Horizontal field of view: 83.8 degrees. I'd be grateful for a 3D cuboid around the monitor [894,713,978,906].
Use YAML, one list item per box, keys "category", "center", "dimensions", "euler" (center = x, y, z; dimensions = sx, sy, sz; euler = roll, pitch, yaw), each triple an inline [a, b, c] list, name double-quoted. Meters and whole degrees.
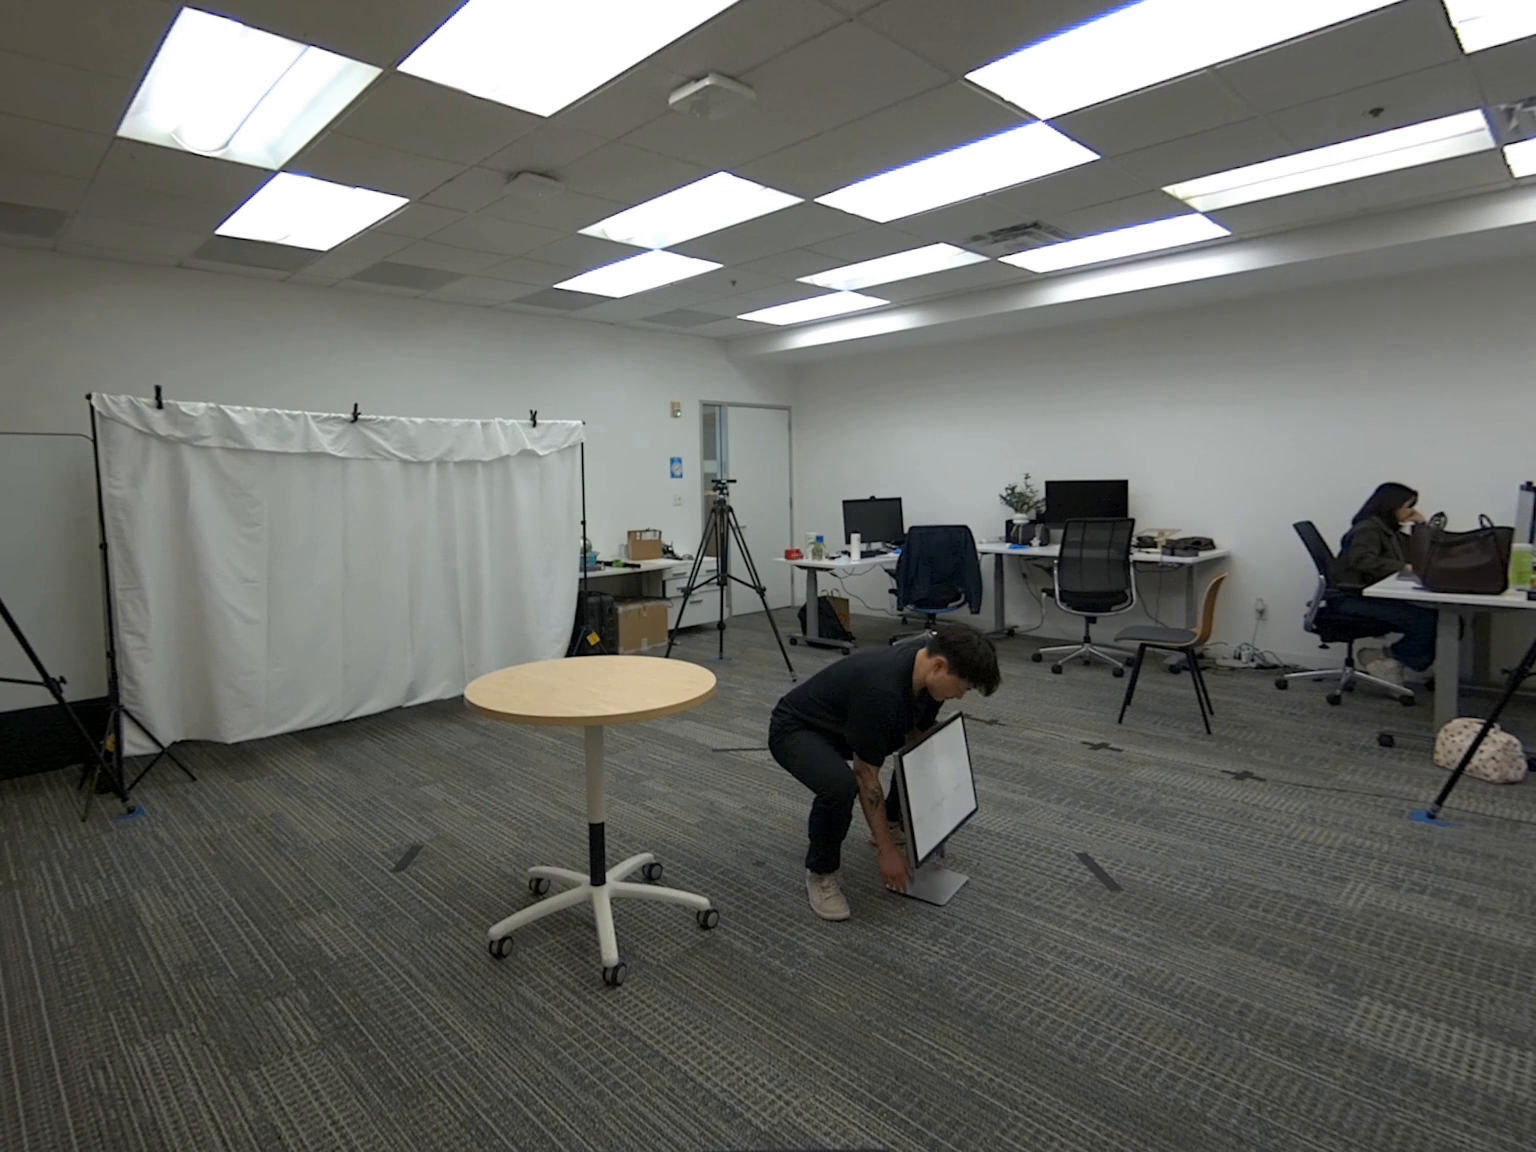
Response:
- category: "monitor"
  center: [0.552, 0.799, 2.907]
  dimensions: [0.192, 0.519, 0.527]
  euler: [6, 9, 31]
